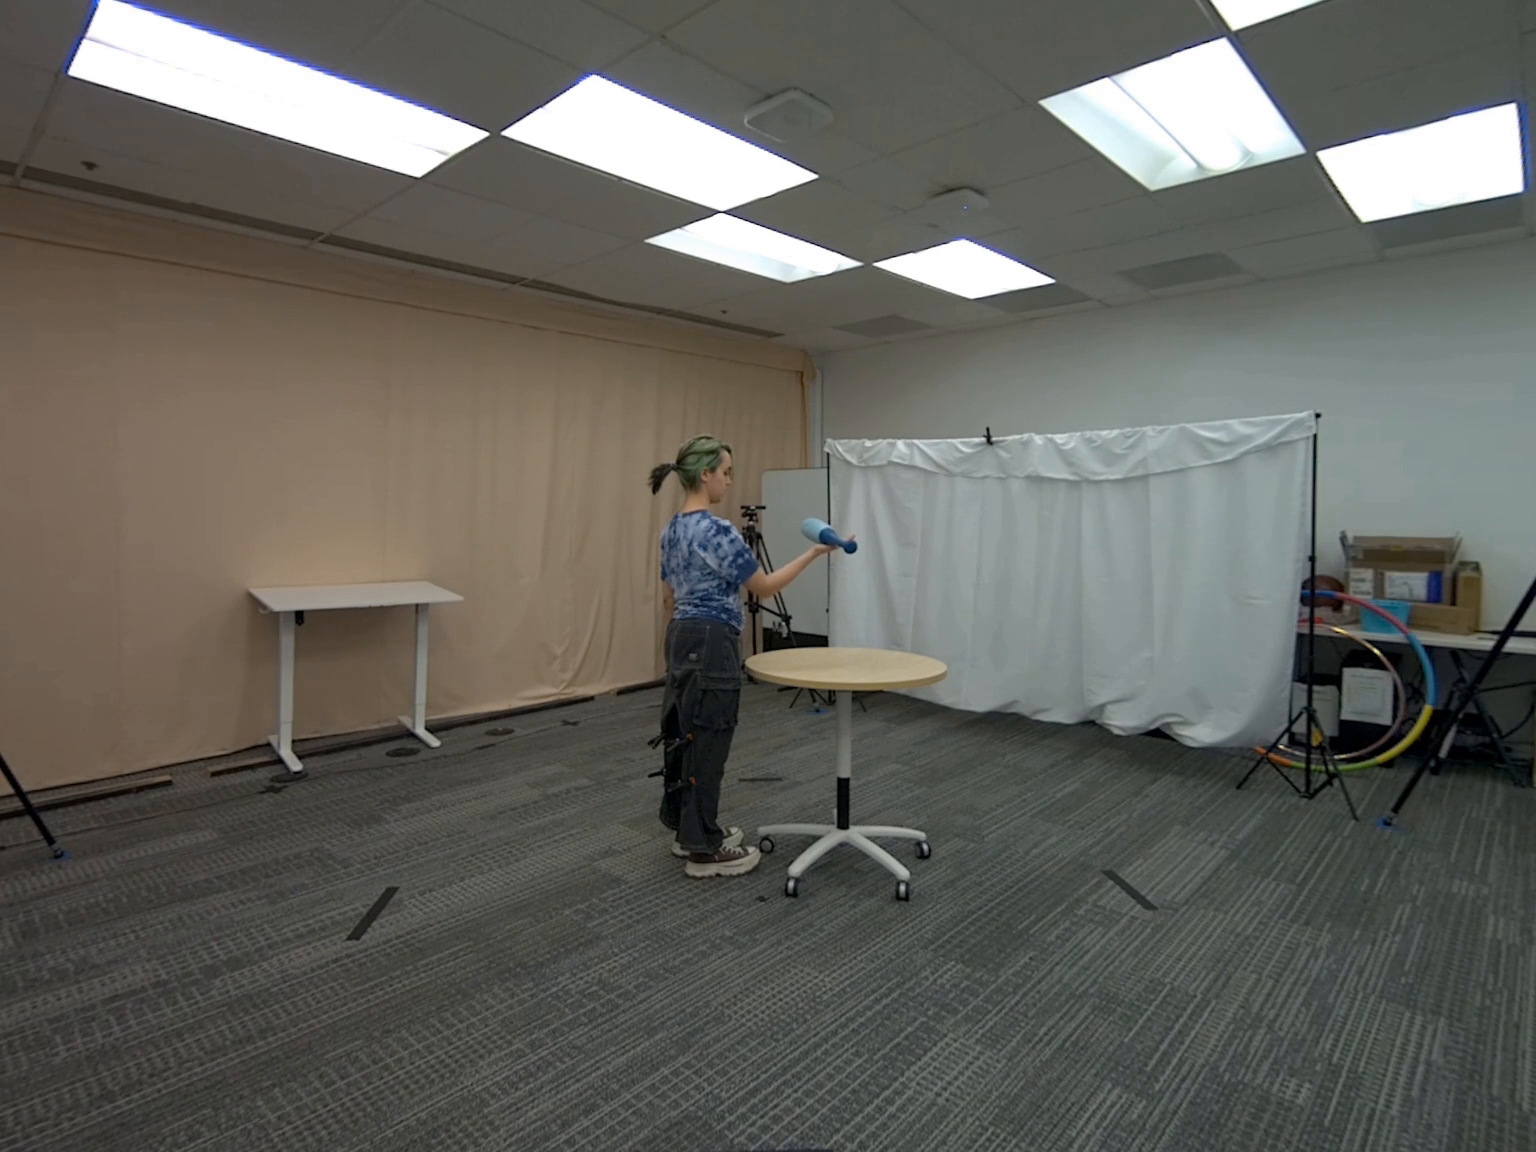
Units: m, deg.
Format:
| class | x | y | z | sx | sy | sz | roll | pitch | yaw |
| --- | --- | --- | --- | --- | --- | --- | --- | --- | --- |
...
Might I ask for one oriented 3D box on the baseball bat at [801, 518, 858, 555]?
| class | x | y | z | sx | sy | sz | roll | pitch | yaw |
| --- | --- | --- | --- | --- | --- | --- | --- | --- | --- |
| baseball bat | 0.243 | -0.144 | 3.177 | 0.088 | 0.088 | 0.553 | -1 | 11 | -13 |
